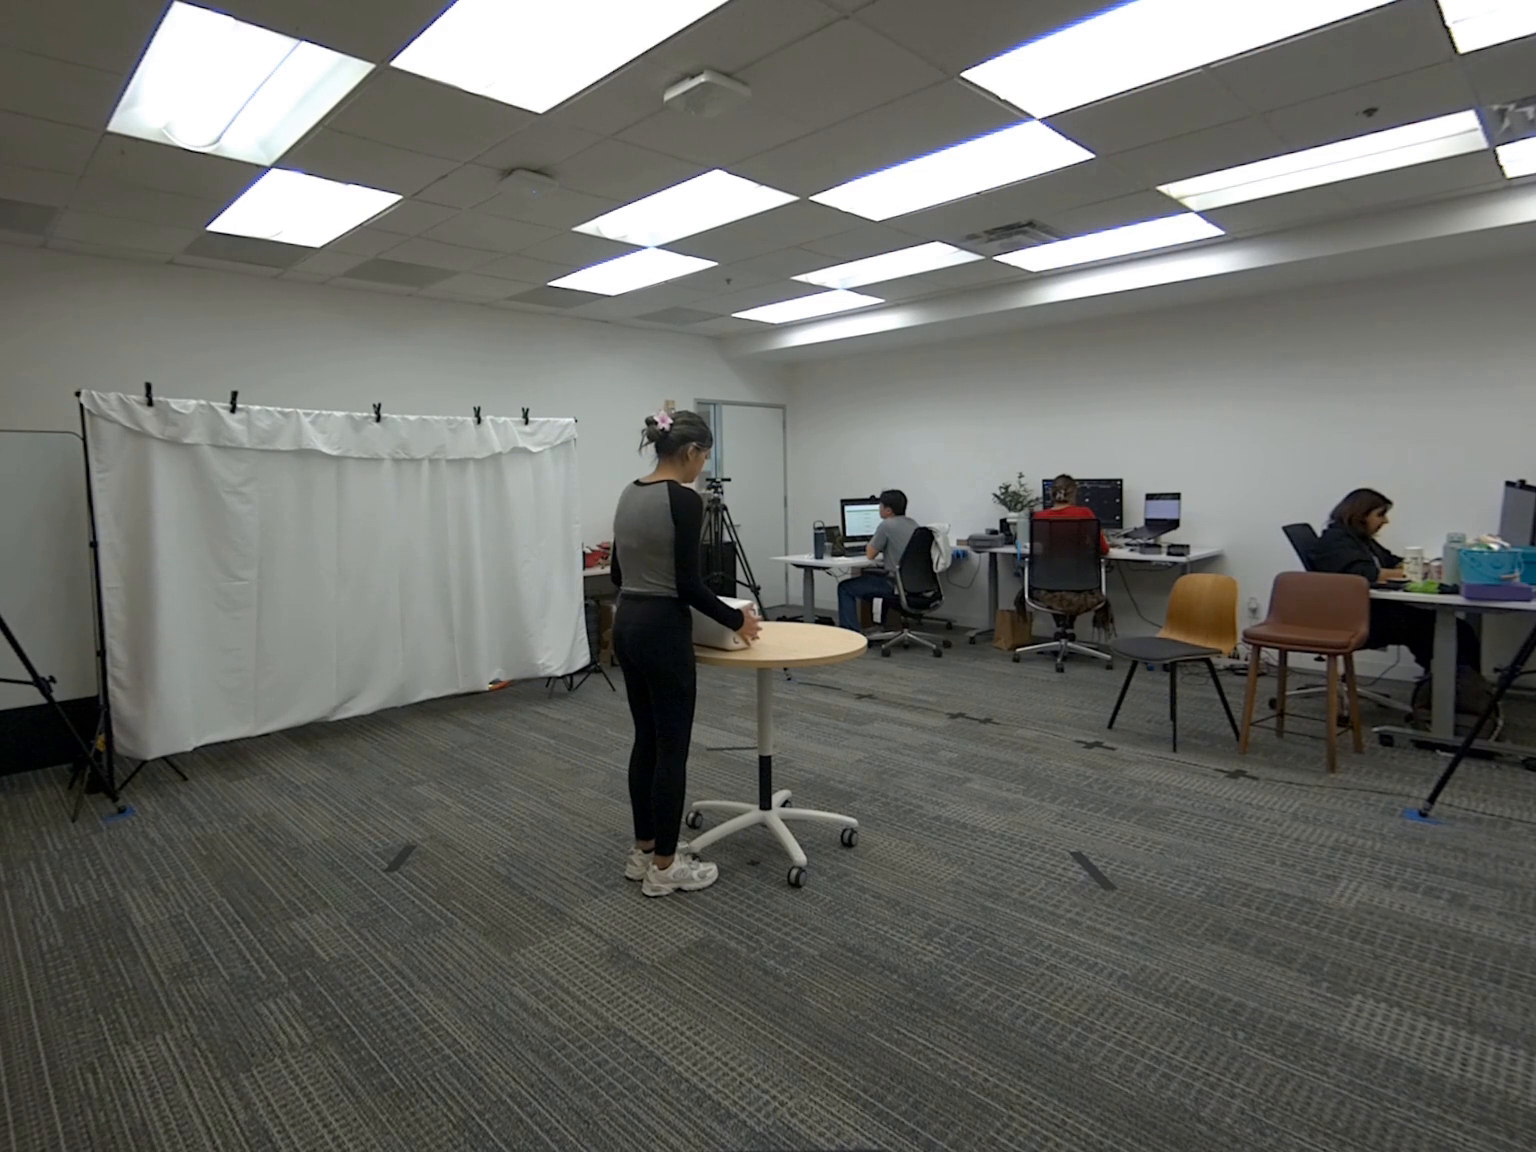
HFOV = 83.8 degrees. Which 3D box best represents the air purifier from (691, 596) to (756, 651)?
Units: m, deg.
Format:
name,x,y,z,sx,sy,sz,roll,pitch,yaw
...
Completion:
name,x,y,z,sx,sy,sz,roll,pitch,yaw
air purifier,-0.176,0.162,3.081,0.273,0.171,0.167,5,8,45
